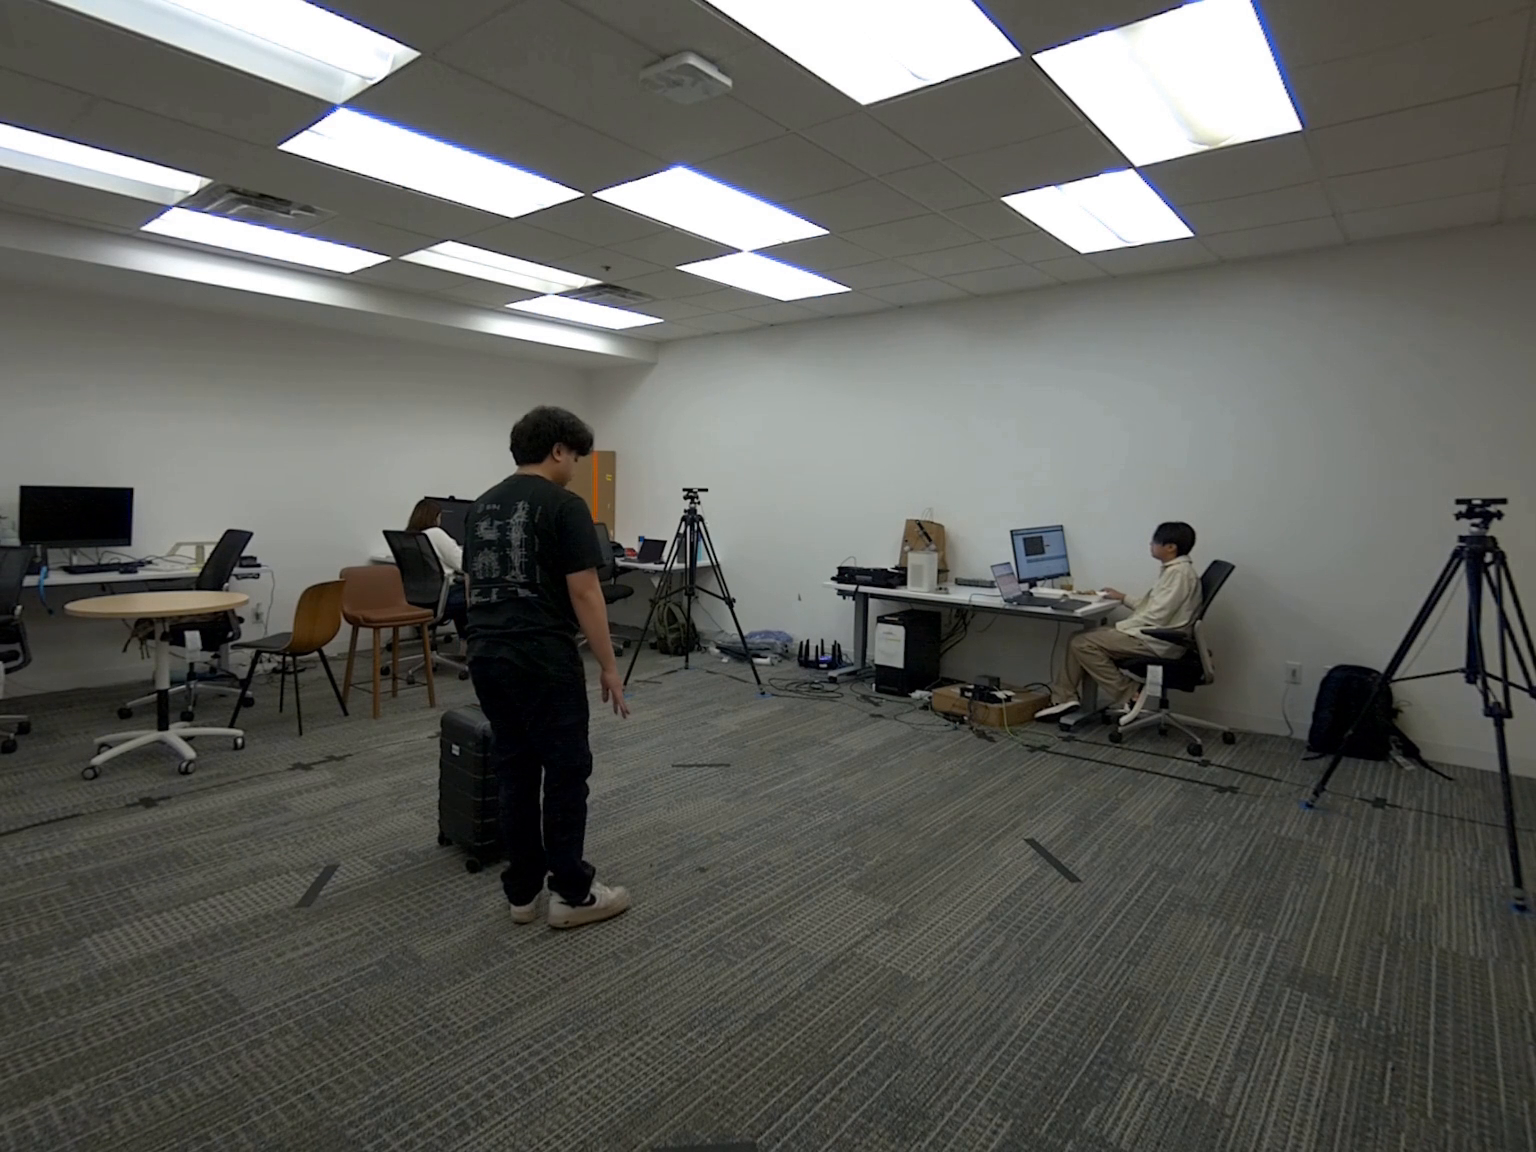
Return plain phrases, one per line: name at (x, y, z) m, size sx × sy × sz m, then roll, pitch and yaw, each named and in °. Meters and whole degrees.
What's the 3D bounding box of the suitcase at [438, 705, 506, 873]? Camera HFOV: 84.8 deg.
suitcase at (-1.084, 0.770, 3.221) m, size 0.241 × 0.548 × 0.388 m, roll -2°, pitch 4°, yaw -44°
